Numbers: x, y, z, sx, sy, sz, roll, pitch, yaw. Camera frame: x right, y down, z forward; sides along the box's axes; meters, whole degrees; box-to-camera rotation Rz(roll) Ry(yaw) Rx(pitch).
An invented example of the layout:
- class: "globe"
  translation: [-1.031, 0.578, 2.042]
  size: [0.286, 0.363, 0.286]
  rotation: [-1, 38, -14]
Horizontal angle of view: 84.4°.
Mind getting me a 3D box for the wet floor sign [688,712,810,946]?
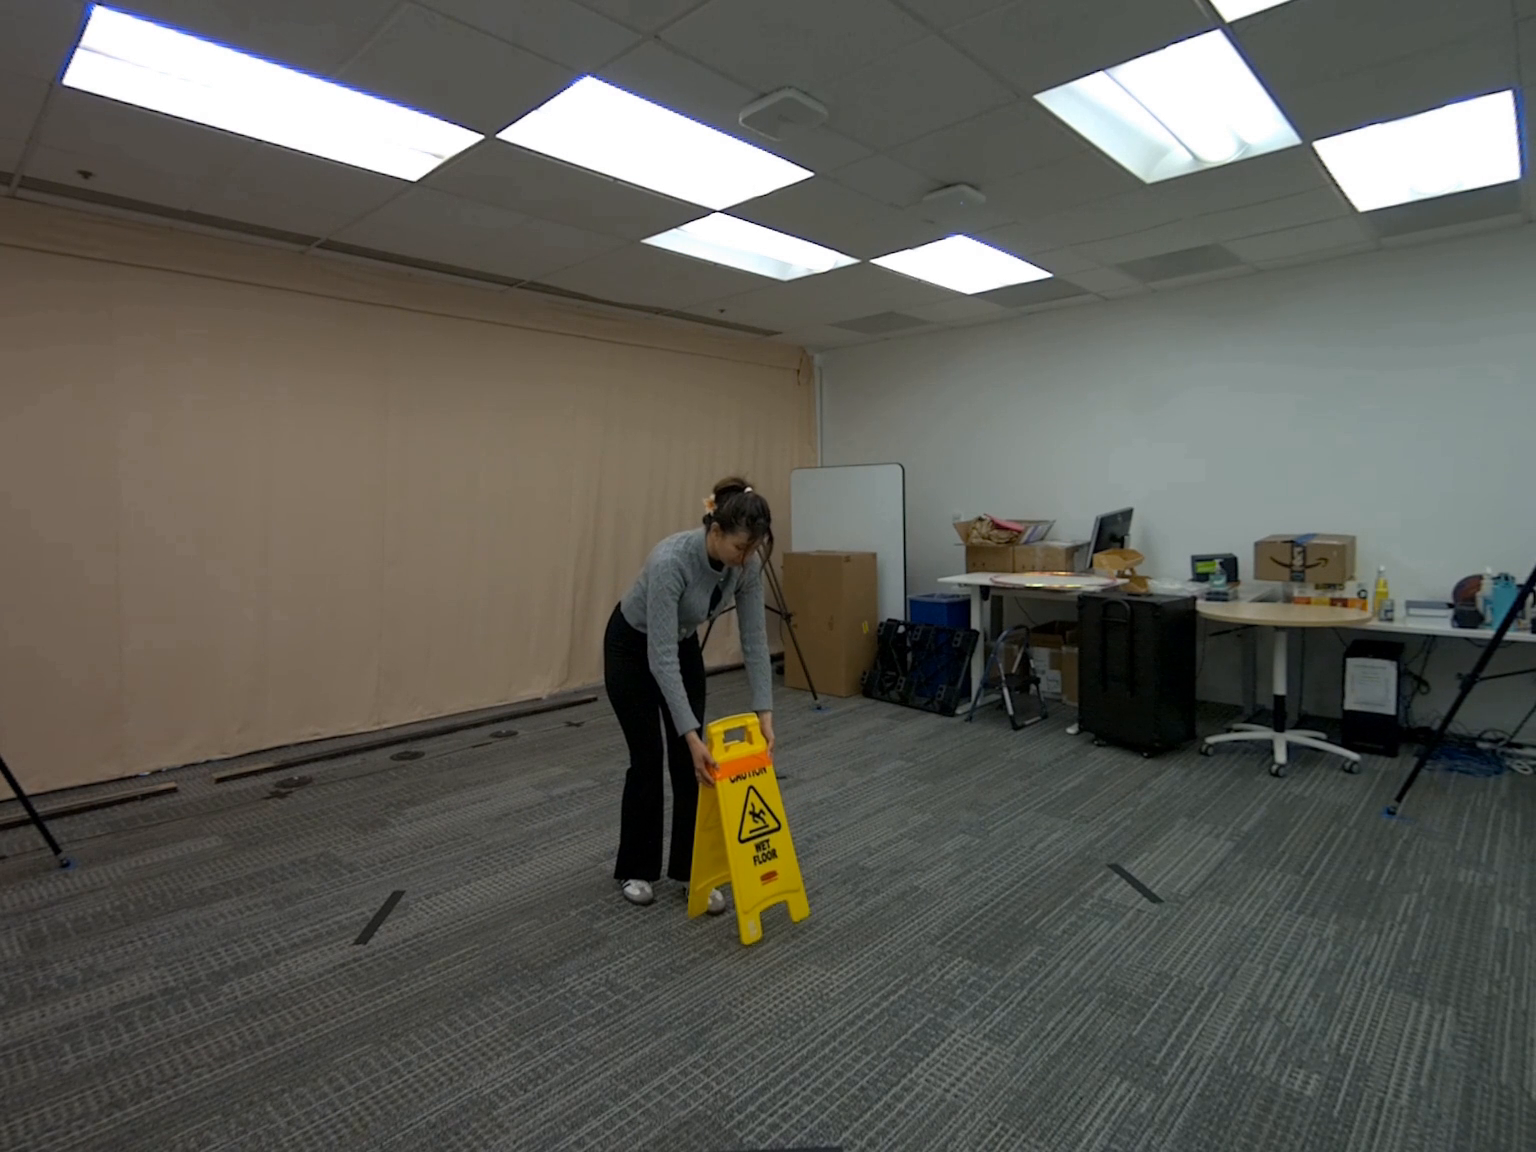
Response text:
- class: "wet floor sign"
  translation: [-0.082, 0.779, 2.715]
  size: [0.274, 0.645, 0.298]
  rotation: [-6, 2, -40]
